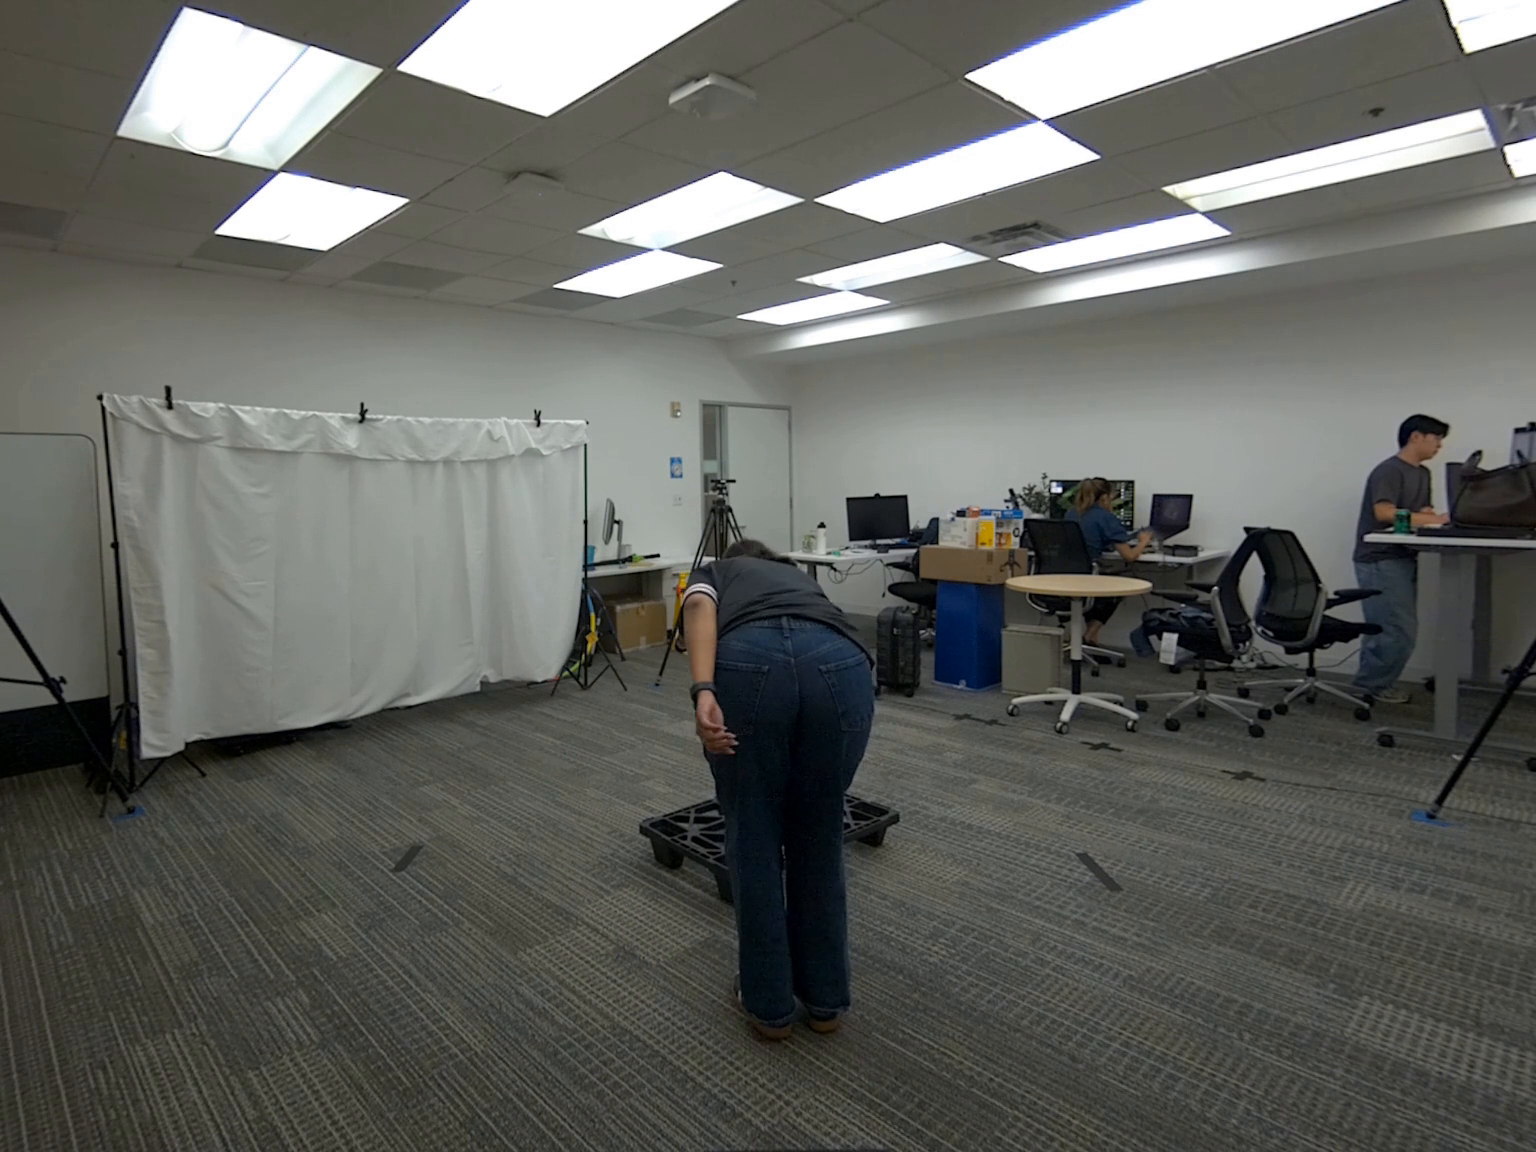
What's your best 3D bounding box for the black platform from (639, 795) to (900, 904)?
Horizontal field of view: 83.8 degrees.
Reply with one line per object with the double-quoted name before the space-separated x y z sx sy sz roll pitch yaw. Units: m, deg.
"black platform" 0.019 0.970 3.196 0.785 0.142 0.624 -7 9 -41
